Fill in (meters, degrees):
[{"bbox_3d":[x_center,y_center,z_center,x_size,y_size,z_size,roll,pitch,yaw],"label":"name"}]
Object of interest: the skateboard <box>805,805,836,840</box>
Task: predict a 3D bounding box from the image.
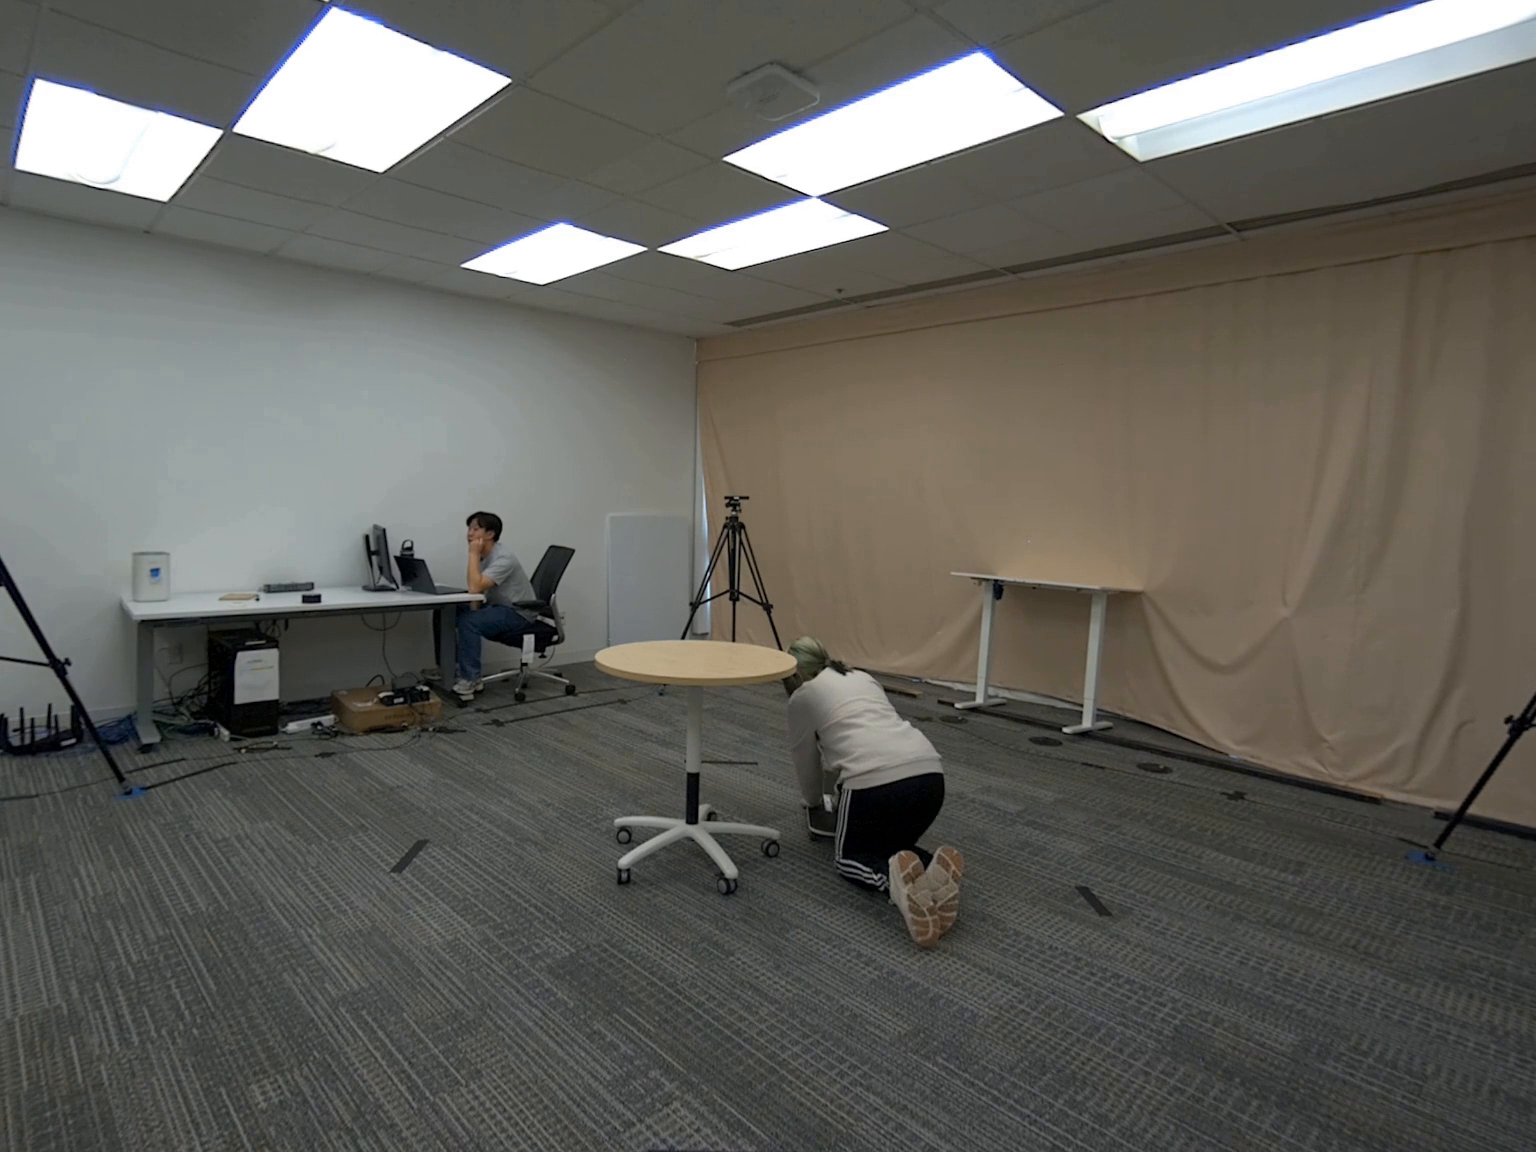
[{"bbox_3d":[0.252,1.016,3.644,0.193,0.110,0.787,2,6,0],"label":"skateboard"}]
